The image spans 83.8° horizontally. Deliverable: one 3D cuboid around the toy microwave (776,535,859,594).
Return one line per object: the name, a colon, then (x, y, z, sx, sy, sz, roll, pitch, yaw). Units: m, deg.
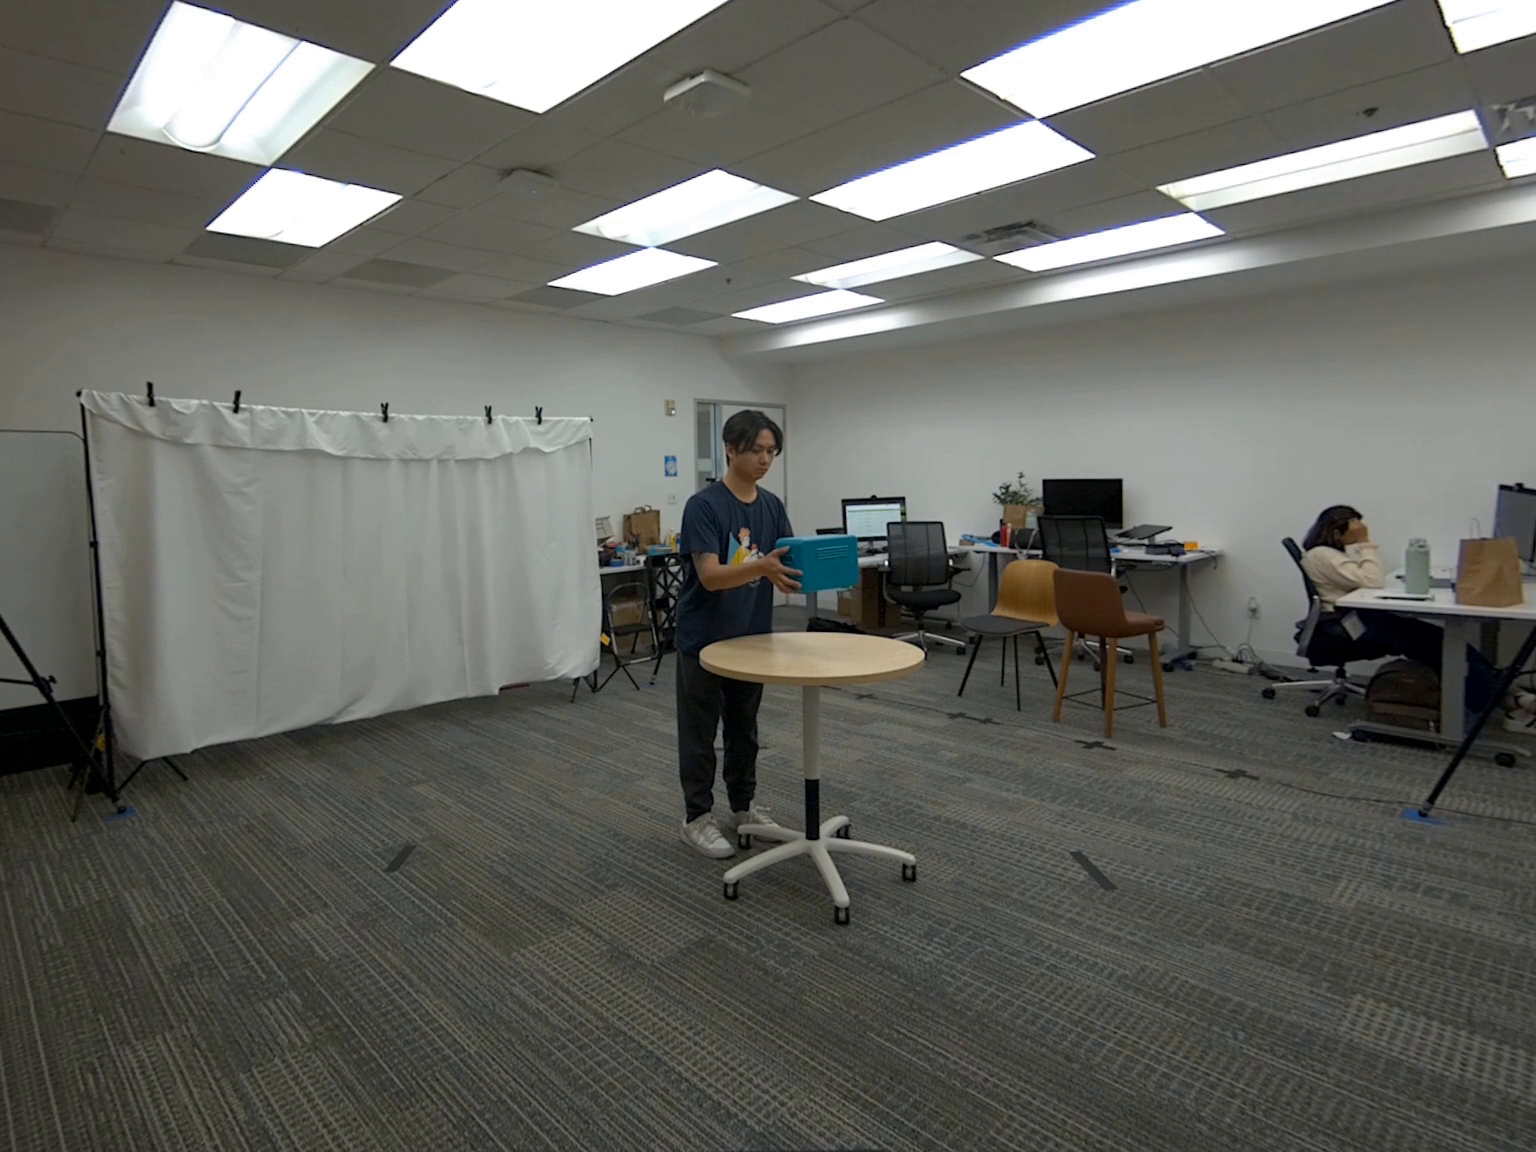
toy microwave: (0.167, -0.042, 2.914, 0.279, 0.183, 0.157, -6, 6, -39)
